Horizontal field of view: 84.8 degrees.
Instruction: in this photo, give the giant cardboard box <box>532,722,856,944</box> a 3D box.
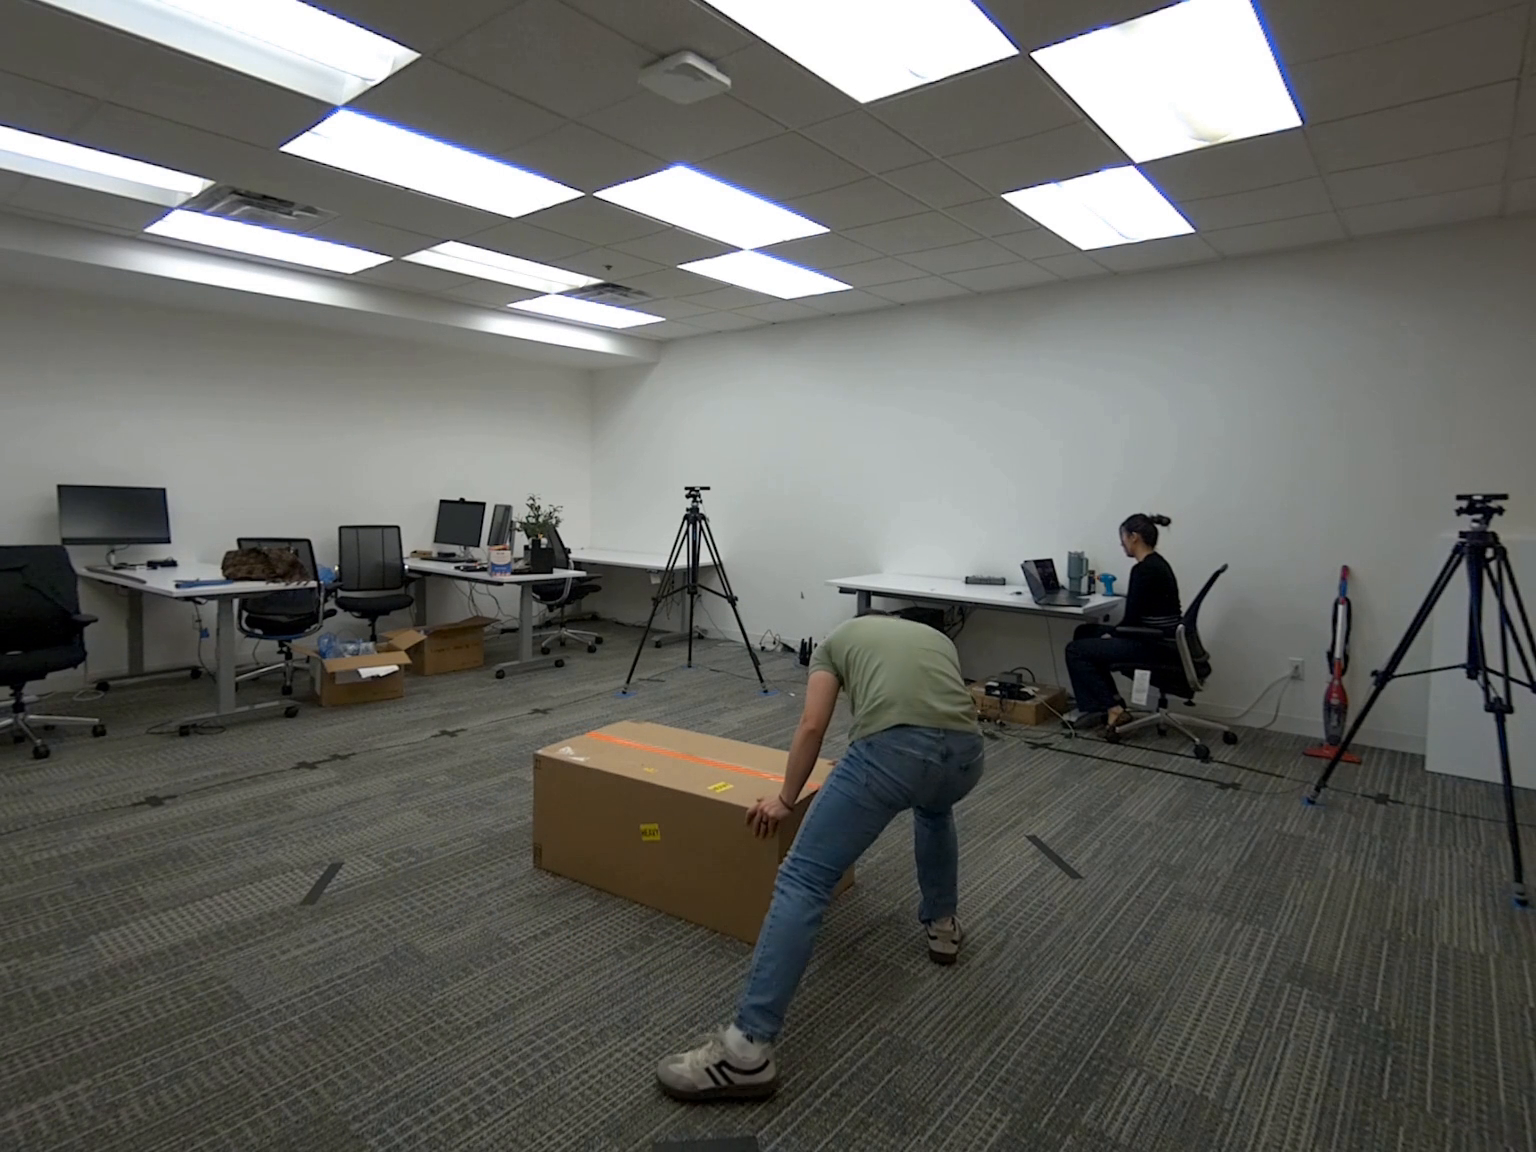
[{"bbox_3d":[-0.287,0.857,3.049,1.057,0.424,0.562,4,6,32],"label":"giant cardboard box"}]
